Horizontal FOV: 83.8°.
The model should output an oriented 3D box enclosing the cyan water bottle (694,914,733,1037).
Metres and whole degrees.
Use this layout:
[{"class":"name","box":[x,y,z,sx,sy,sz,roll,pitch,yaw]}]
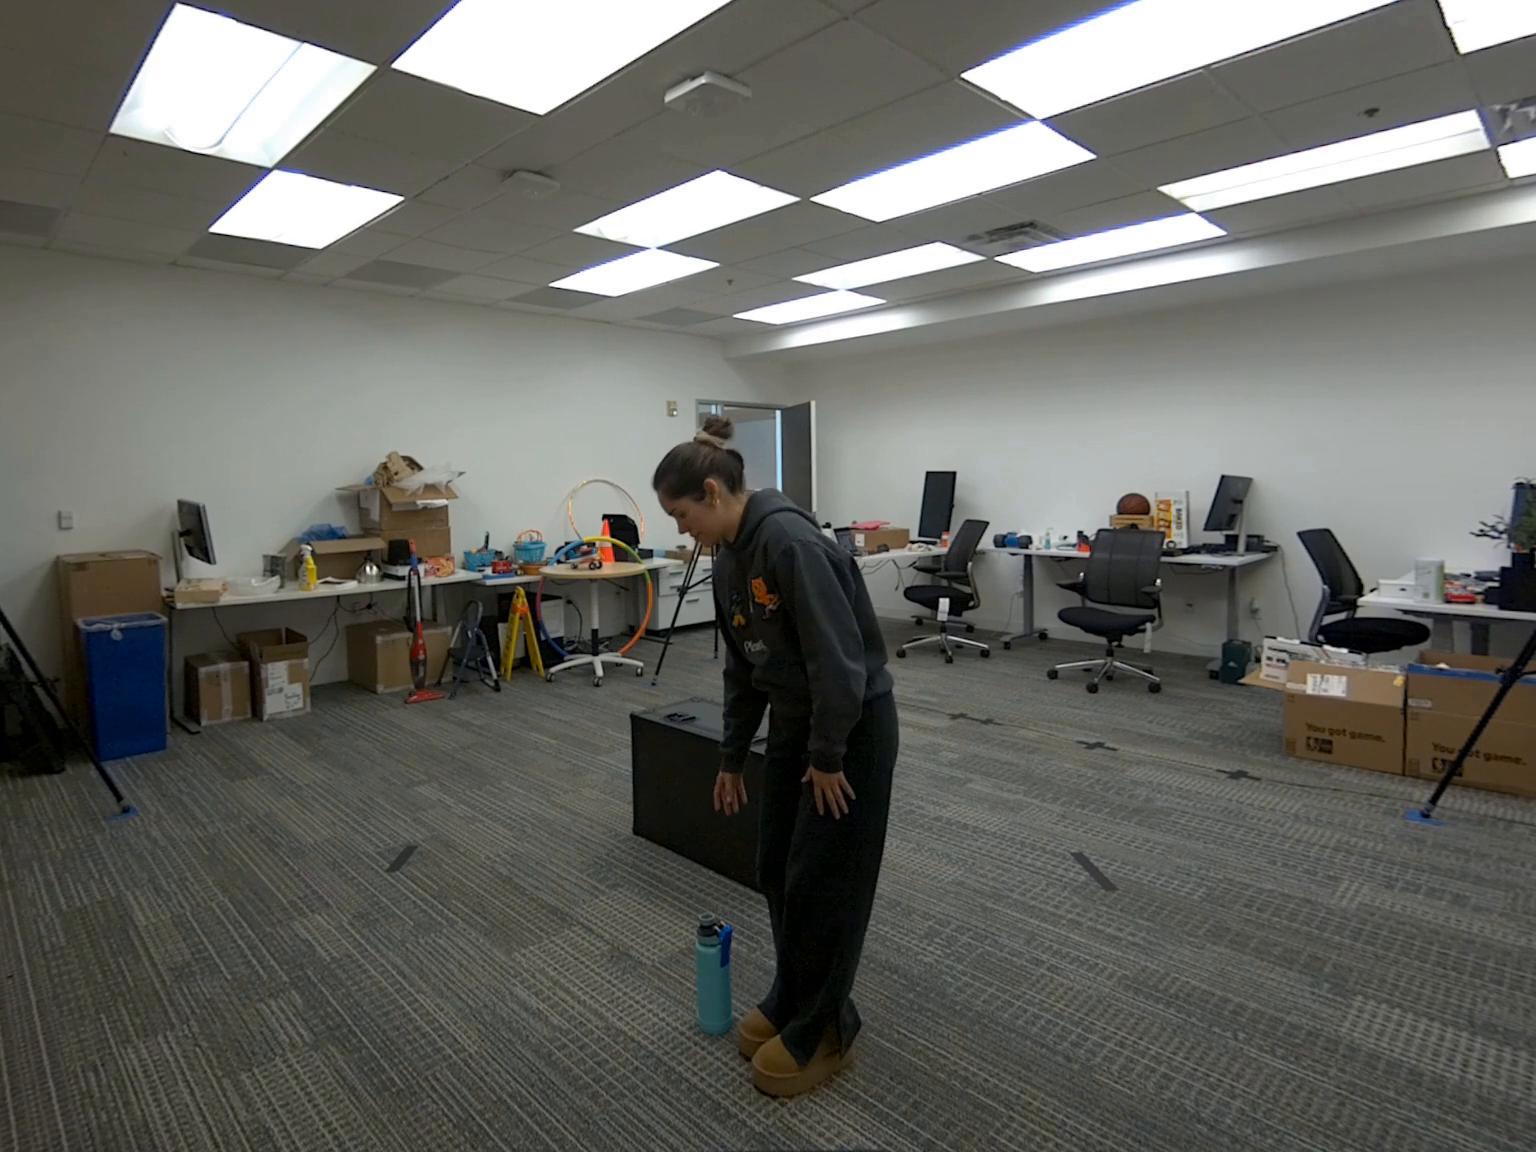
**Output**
[{"class":"cyan water bottle","box":[-0.129,1.023,2.179,0.092,0.282,0.093,-1,5,-2]}]
